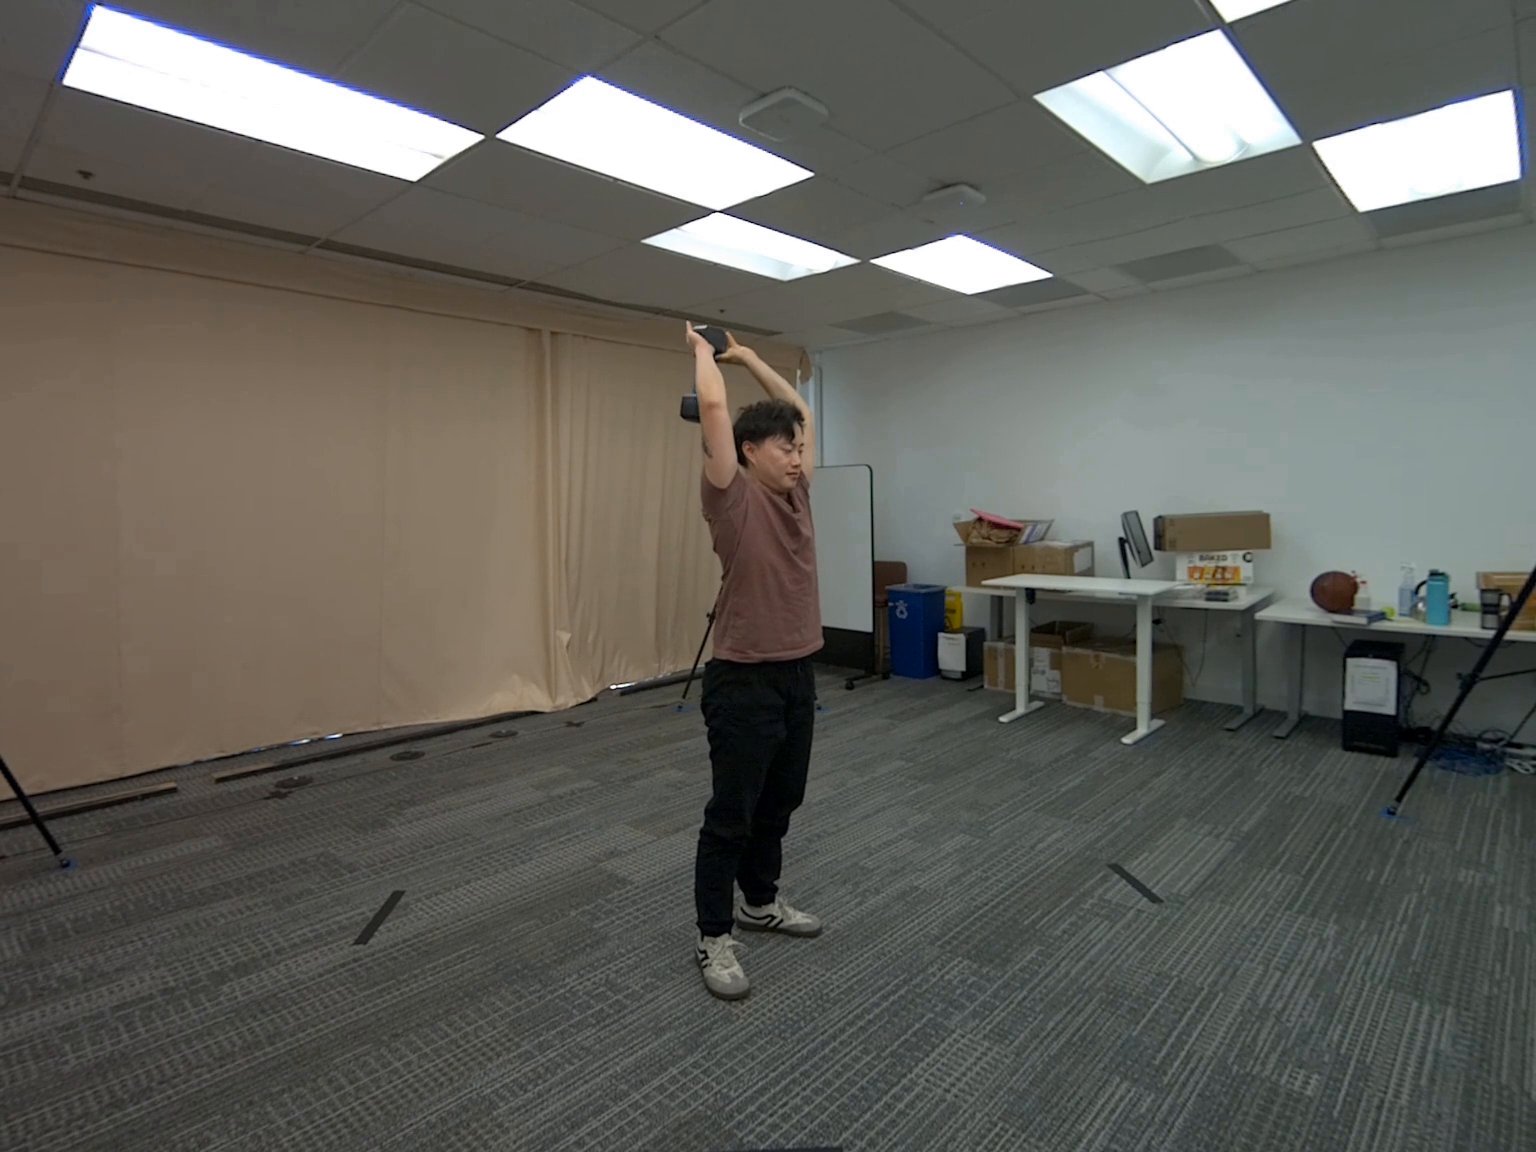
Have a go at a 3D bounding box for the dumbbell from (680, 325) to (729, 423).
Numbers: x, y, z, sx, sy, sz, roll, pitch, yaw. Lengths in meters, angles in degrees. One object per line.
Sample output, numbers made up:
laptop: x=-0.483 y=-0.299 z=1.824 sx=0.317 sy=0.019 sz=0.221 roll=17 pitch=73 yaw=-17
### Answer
dumbbell: x=-0.196 y=-0.622 z=2.653 sx=0.127 sy=0.293 sz=0.105 roll=13 pitch=4 yaw=42
